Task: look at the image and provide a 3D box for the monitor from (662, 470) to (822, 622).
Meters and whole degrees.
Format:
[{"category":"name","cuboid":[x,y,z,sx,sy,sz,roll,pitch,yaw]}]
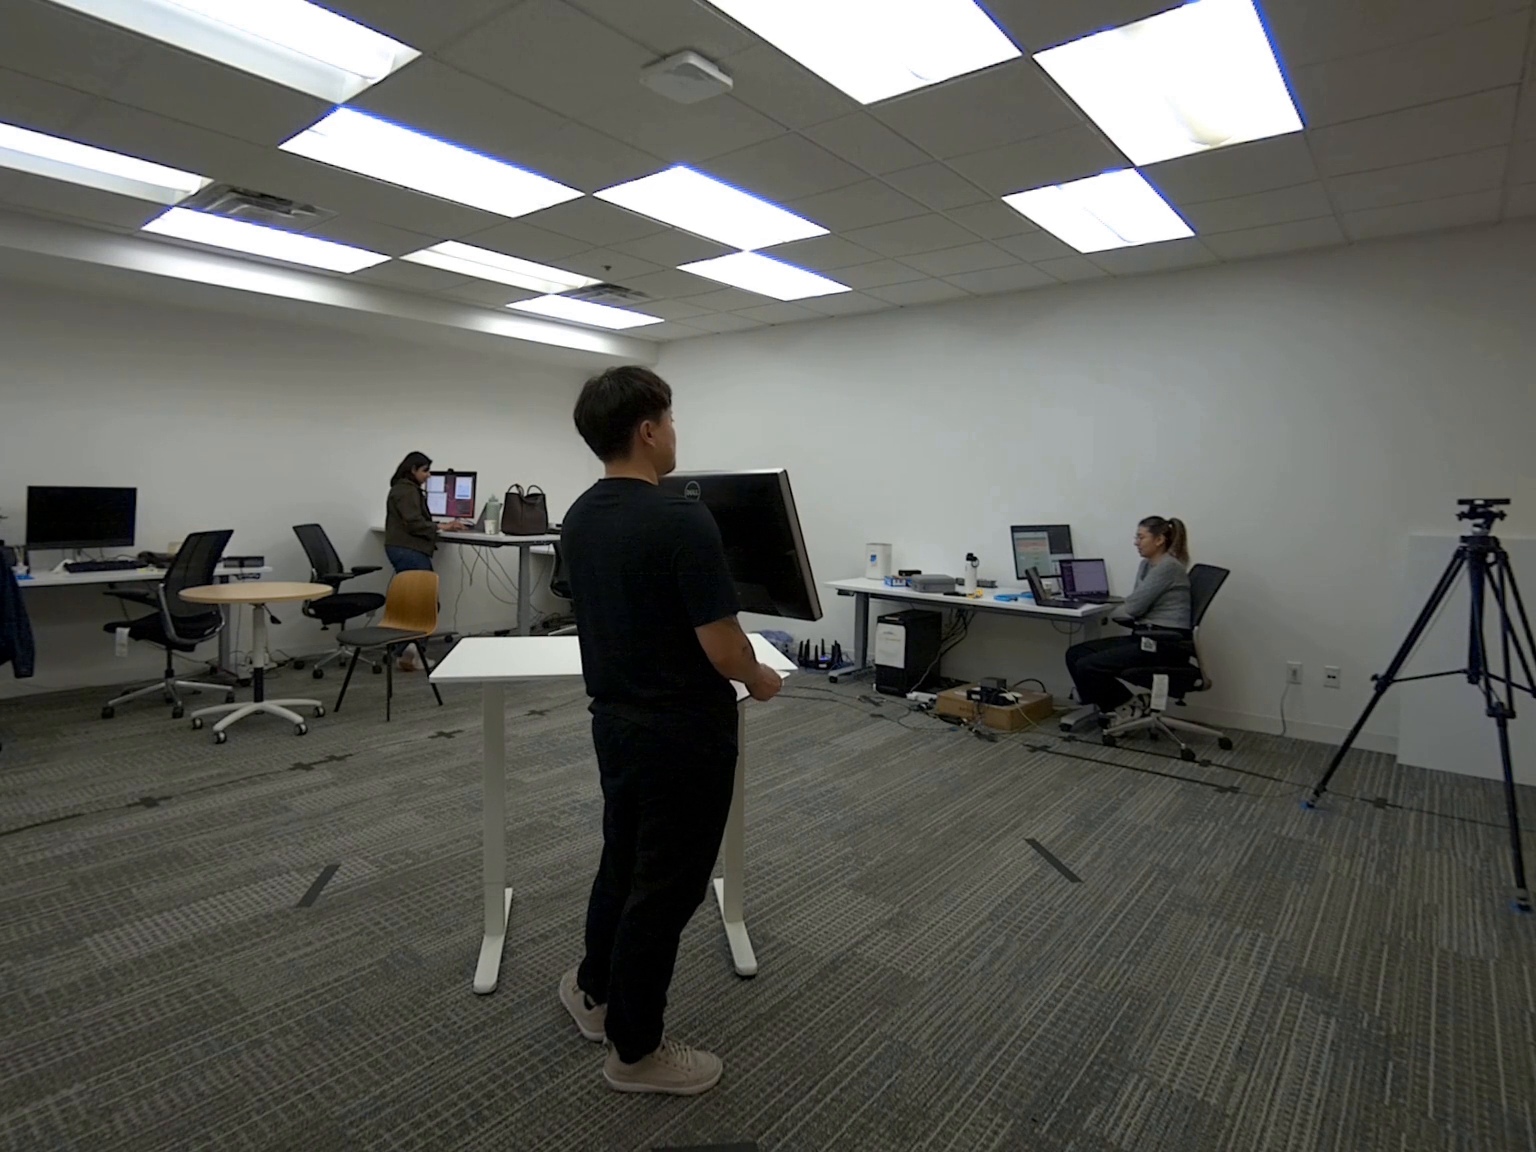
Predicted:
[{"category":"monitor","cuboid":[-0.148,0.006,2.089,0.557,0.518,0.182,4,13,44]}]
